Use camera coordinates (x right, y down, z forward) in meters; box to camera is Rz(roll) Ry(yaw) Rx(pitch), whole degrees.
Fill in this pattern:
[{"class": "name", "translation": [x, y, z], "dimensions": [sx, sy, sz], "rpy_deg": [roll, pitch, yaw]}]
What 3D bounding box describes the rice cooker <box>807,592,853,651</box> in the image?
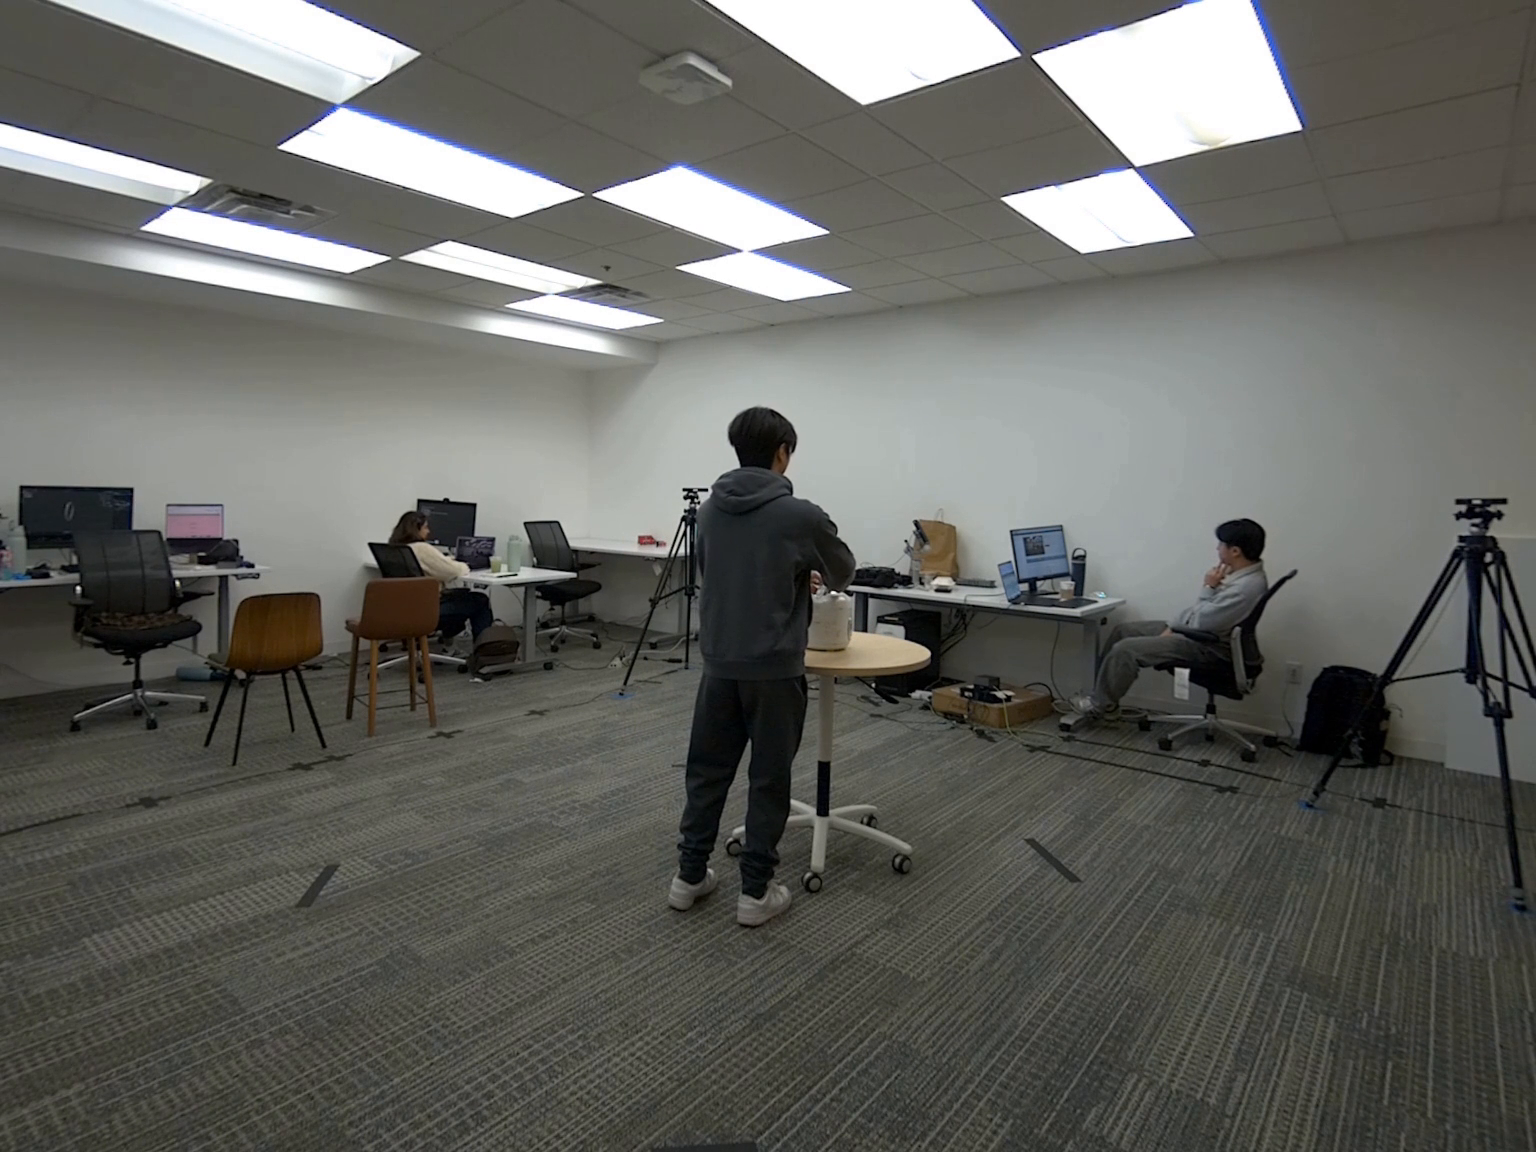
[{"class": "rice cooker", "translation": [0.207, 0.152, 3.242], "dimensions": [0.222, 0.232, 0.217], "rpy_deg": [2, 5, 19]}]
